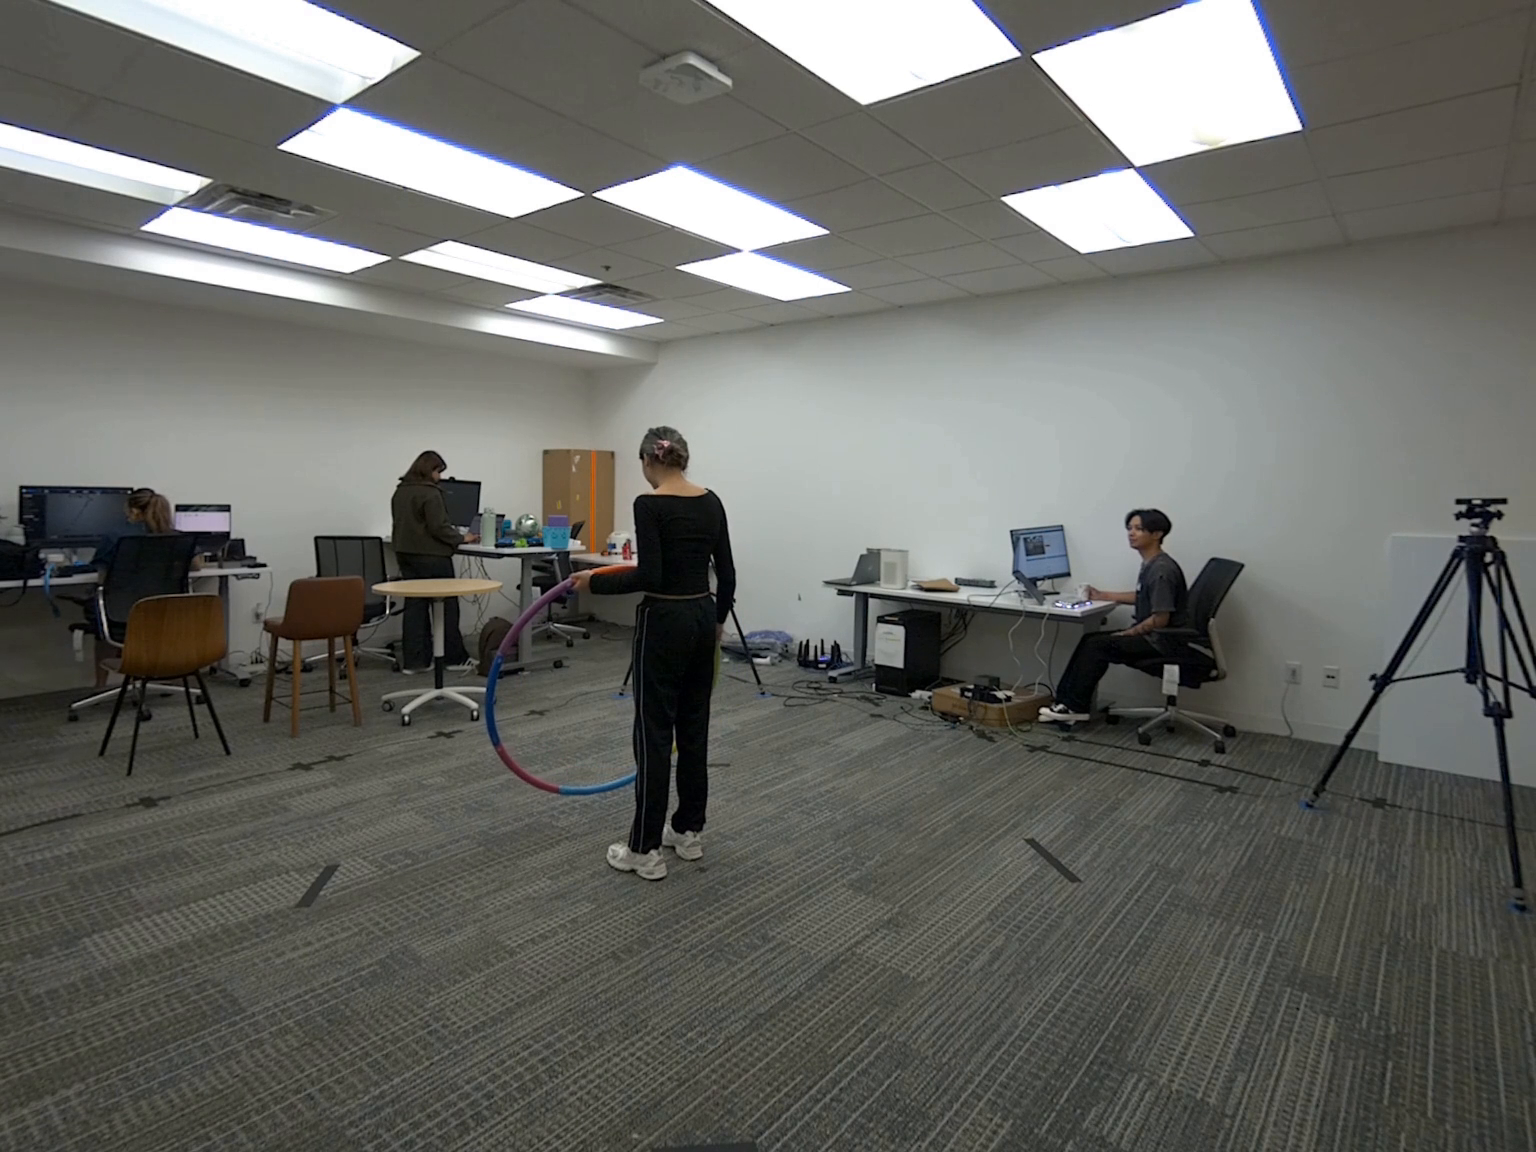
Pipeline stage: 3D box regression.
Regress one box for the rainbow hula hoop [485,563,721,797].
[{"bbox_3d":[-0.639,0.421,3.342,0.952,0.966,0.037,-1,20,-31],"label":"rainbow hula hoop"}]
